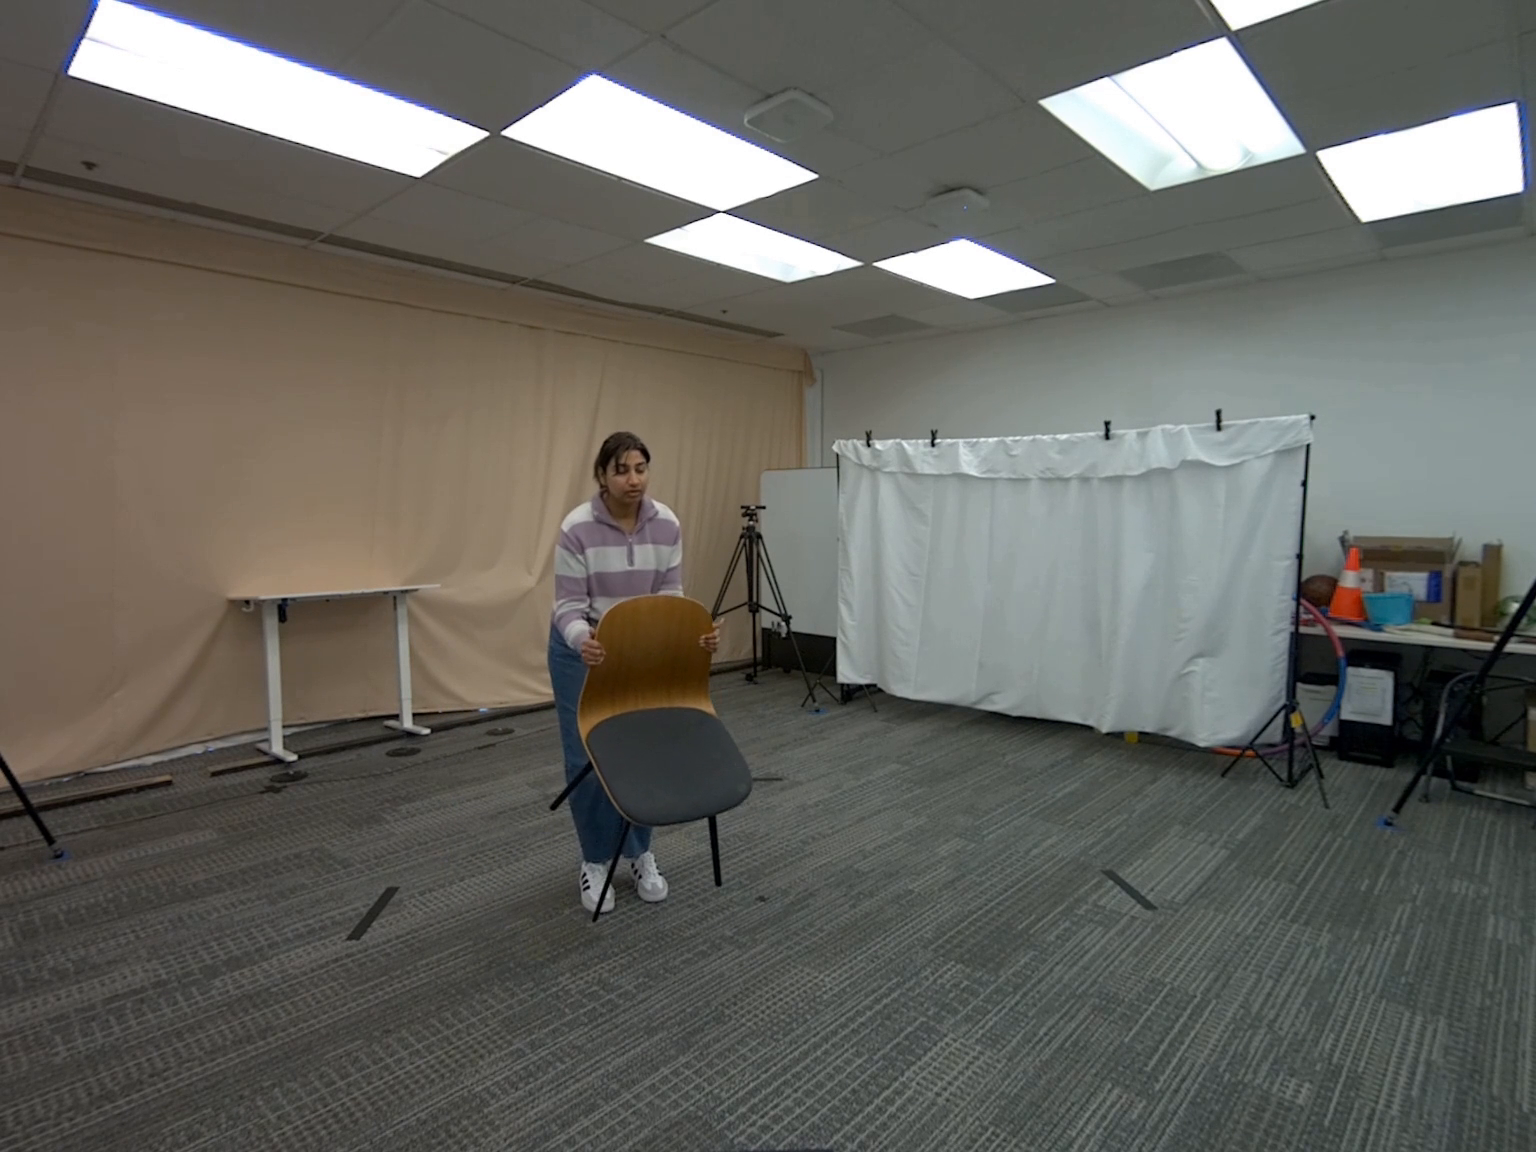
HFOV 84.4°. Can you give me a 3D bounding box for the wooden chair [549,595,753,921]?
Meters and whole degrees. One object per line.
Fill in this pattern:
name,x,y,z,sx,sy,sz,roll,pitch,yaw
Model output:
wooden chair,-0.322,0.570,2.605,0.465,0.870,0.542,-2,31,-32
